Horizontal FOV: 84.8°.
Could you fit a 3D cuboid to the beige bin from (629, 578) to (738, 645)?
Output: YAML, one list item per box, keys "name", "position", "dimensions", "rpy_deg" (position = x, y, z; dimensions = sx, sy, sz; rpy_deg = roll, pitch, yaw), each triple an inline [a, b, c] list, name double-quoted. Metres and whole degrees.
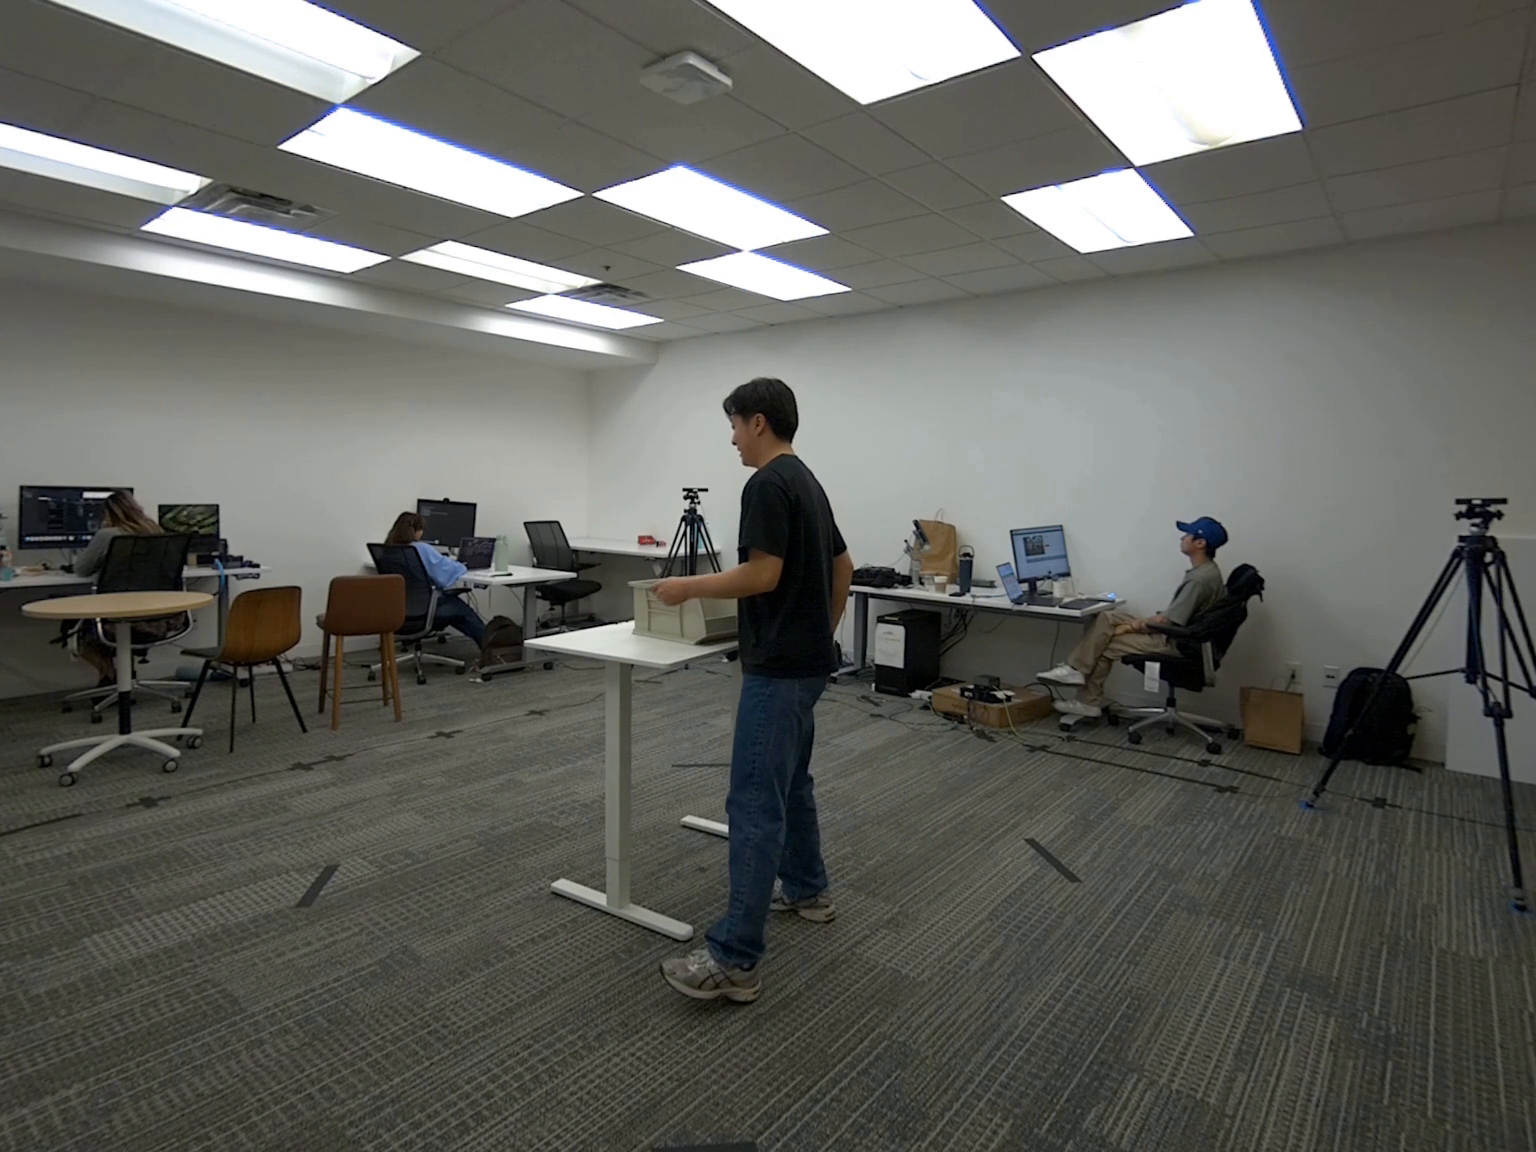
- name: "beige bin"
  position: [-0.213, 0.108, 2.978]
  dimensions: [0.390, 0.188, 0.410]
  rpy_deg: [3, 7, 42]
